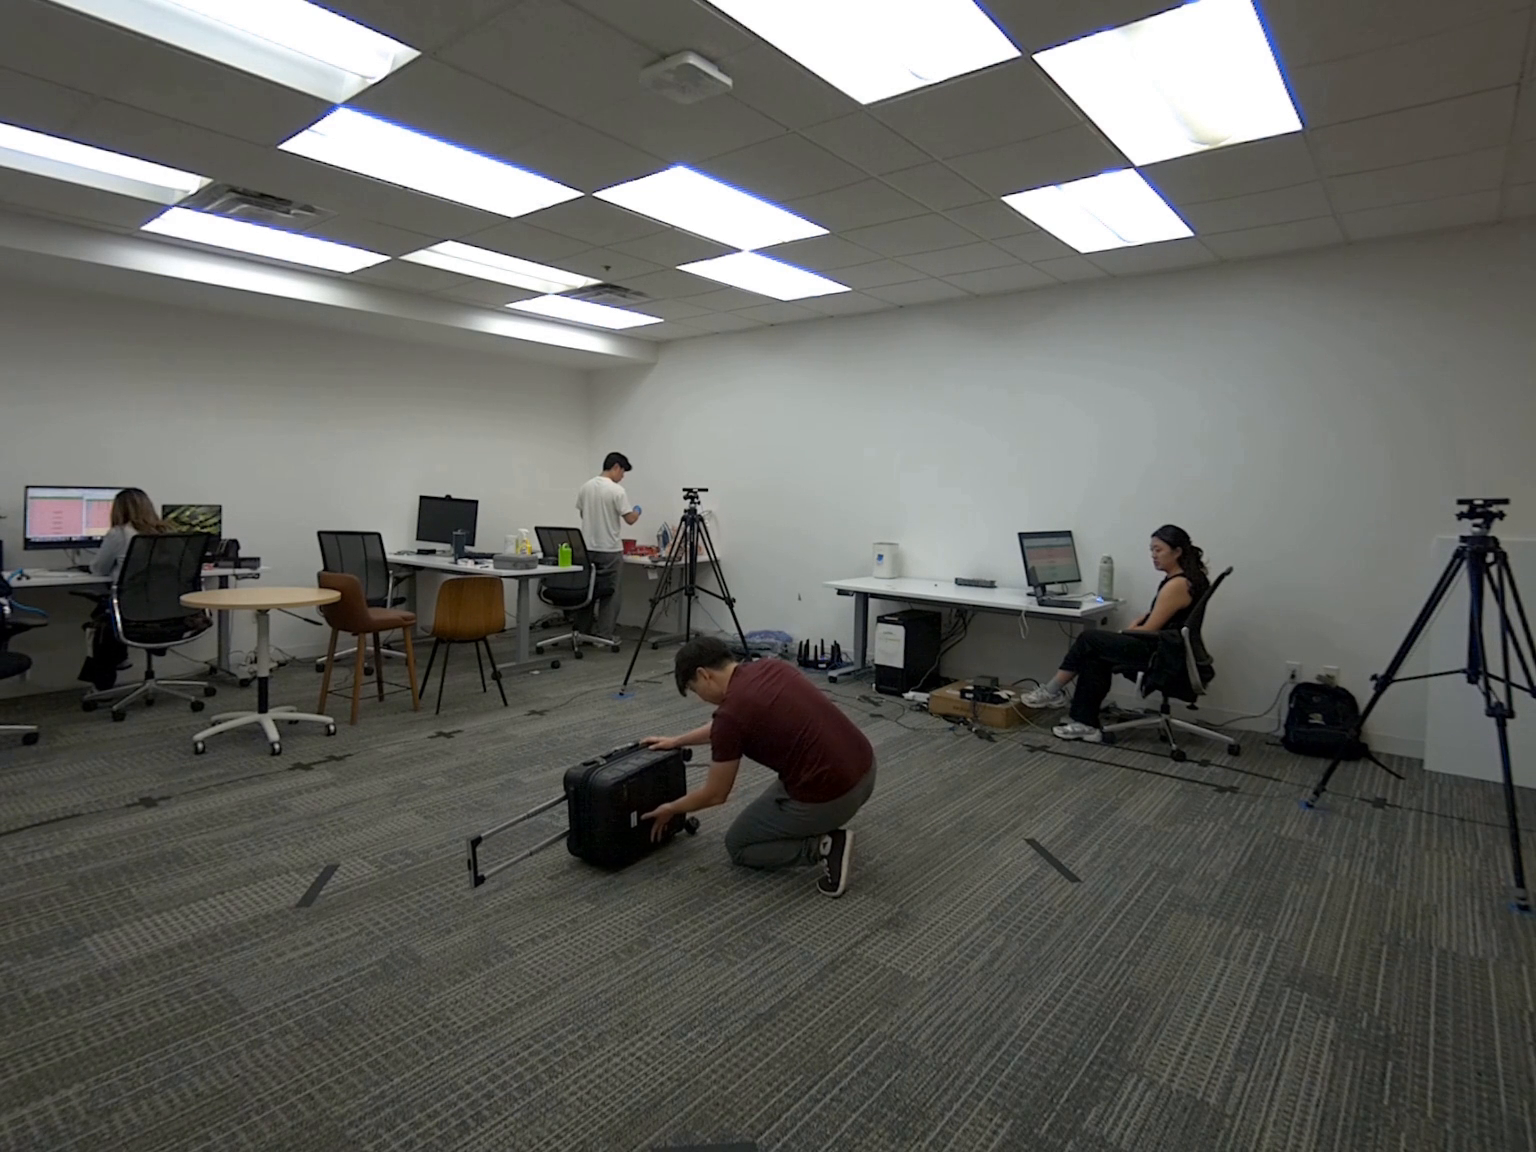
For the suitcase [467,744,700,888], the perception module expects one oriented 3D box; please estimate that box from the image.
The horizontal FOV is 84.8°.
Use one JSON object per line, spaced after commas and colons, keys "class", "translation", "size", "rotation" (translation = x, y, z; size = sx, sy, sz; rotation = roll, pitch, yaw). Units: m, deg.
{"class": "suitcase", "translation": [-0.649, 0.876, 3.115], "size": [0.264, 0.383, 0.954], "rotation": [-1, 4, 30]}
